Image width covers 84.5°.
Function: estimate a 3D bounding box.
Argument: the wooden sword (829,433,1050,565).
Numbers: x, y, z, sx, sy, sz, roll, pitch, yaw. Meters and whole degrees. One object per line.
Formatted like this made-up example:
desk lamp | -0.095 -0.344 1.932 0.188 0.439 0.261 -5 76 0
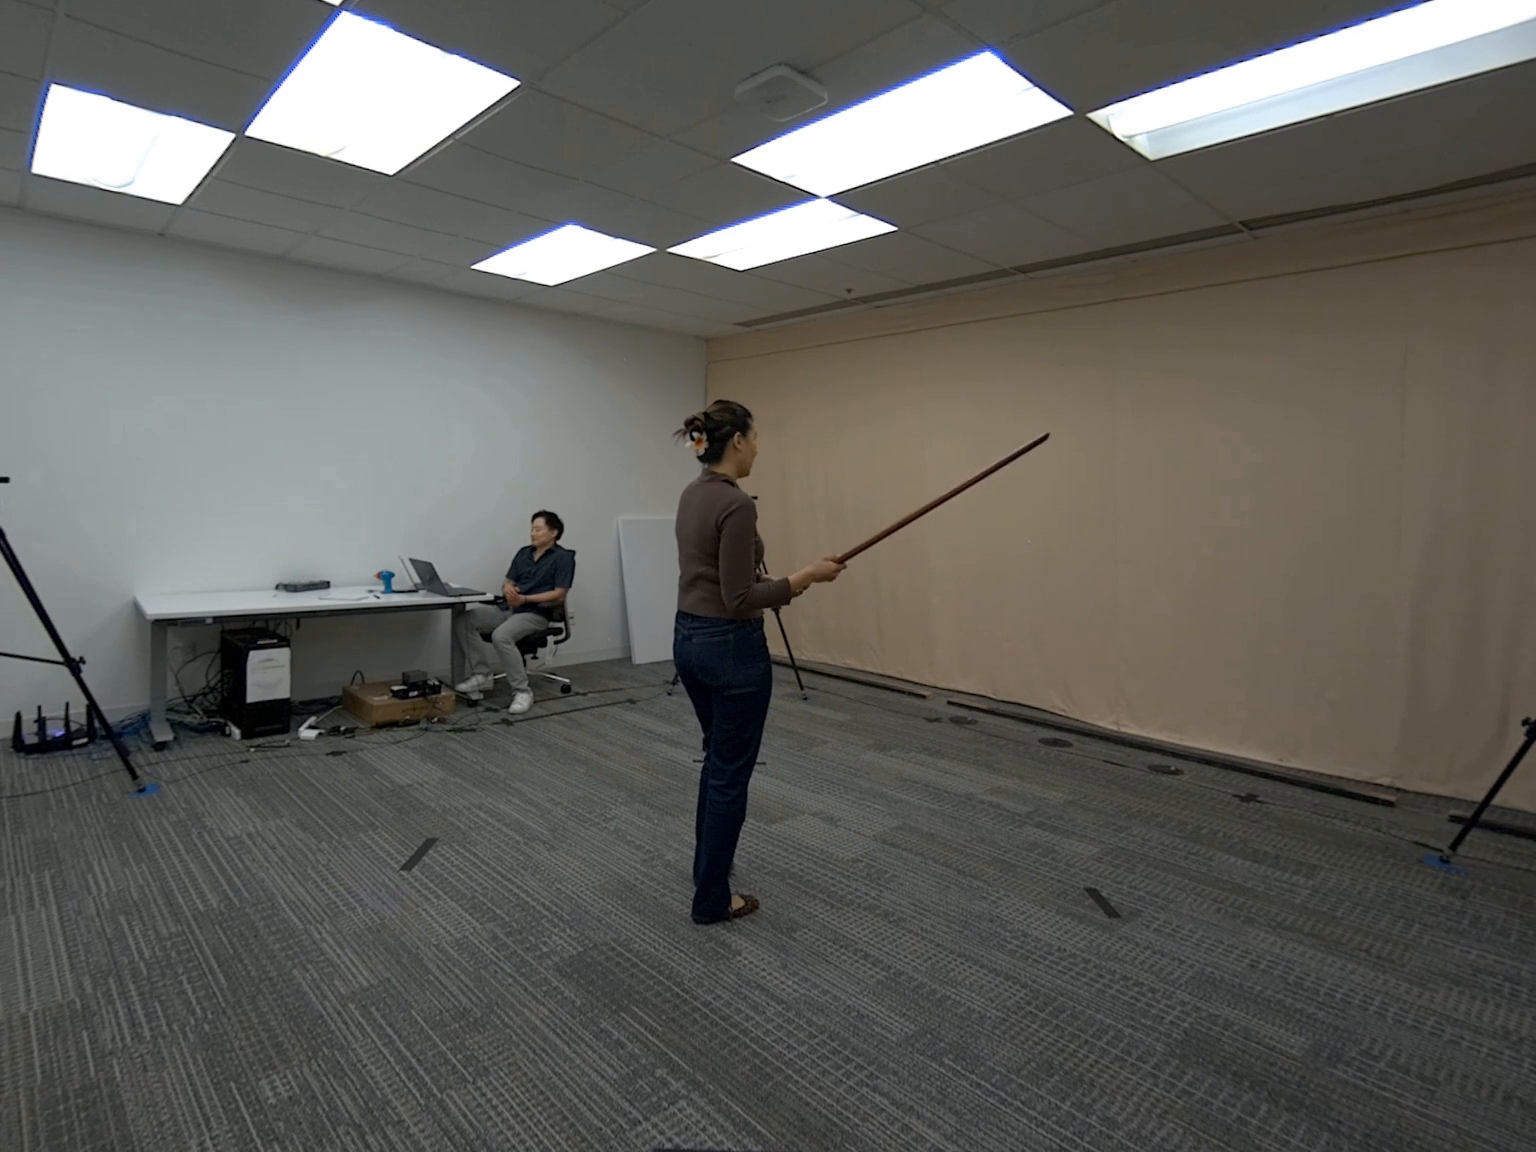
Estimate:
wooden sword | 0.366 -0.138 2.470 1.031 0.051 0.024 -34 7 38
